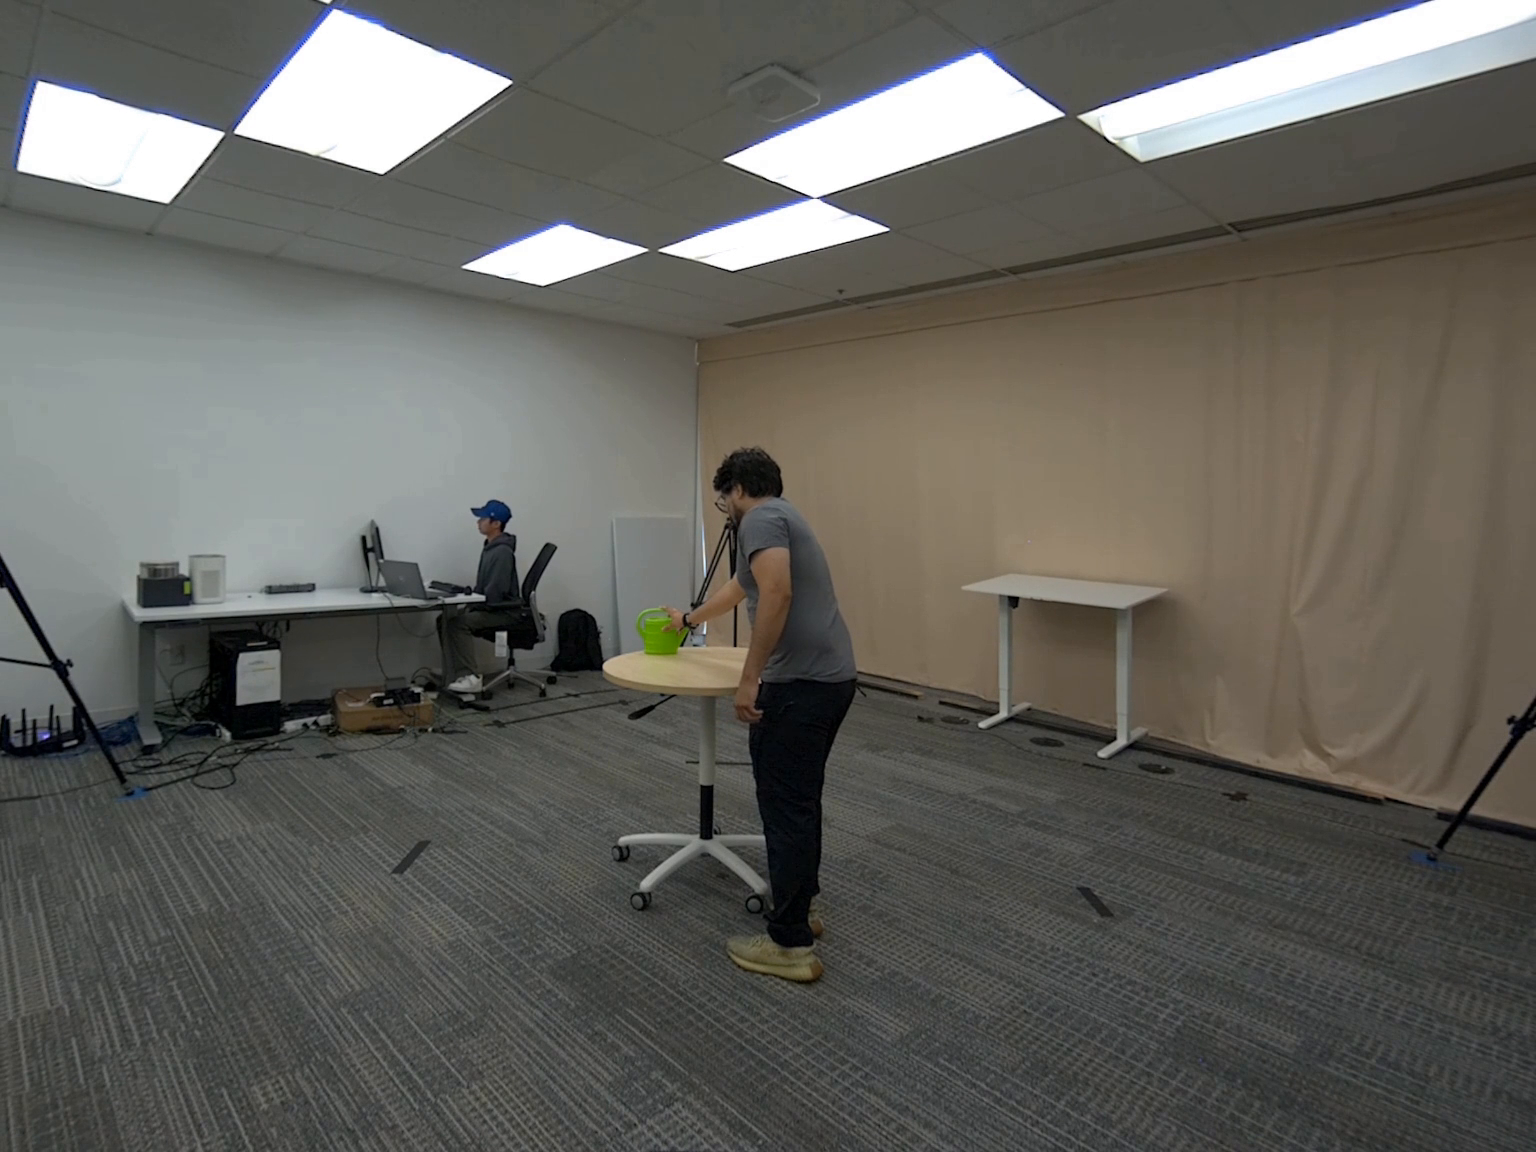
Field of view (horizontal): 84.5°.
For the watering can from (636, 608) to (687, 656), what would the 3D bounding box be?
[{"bbox_3d":[-0.389,0.218,3.289,0.280,0.176,0.097,-2,2,8],"label":"watering can"}]
